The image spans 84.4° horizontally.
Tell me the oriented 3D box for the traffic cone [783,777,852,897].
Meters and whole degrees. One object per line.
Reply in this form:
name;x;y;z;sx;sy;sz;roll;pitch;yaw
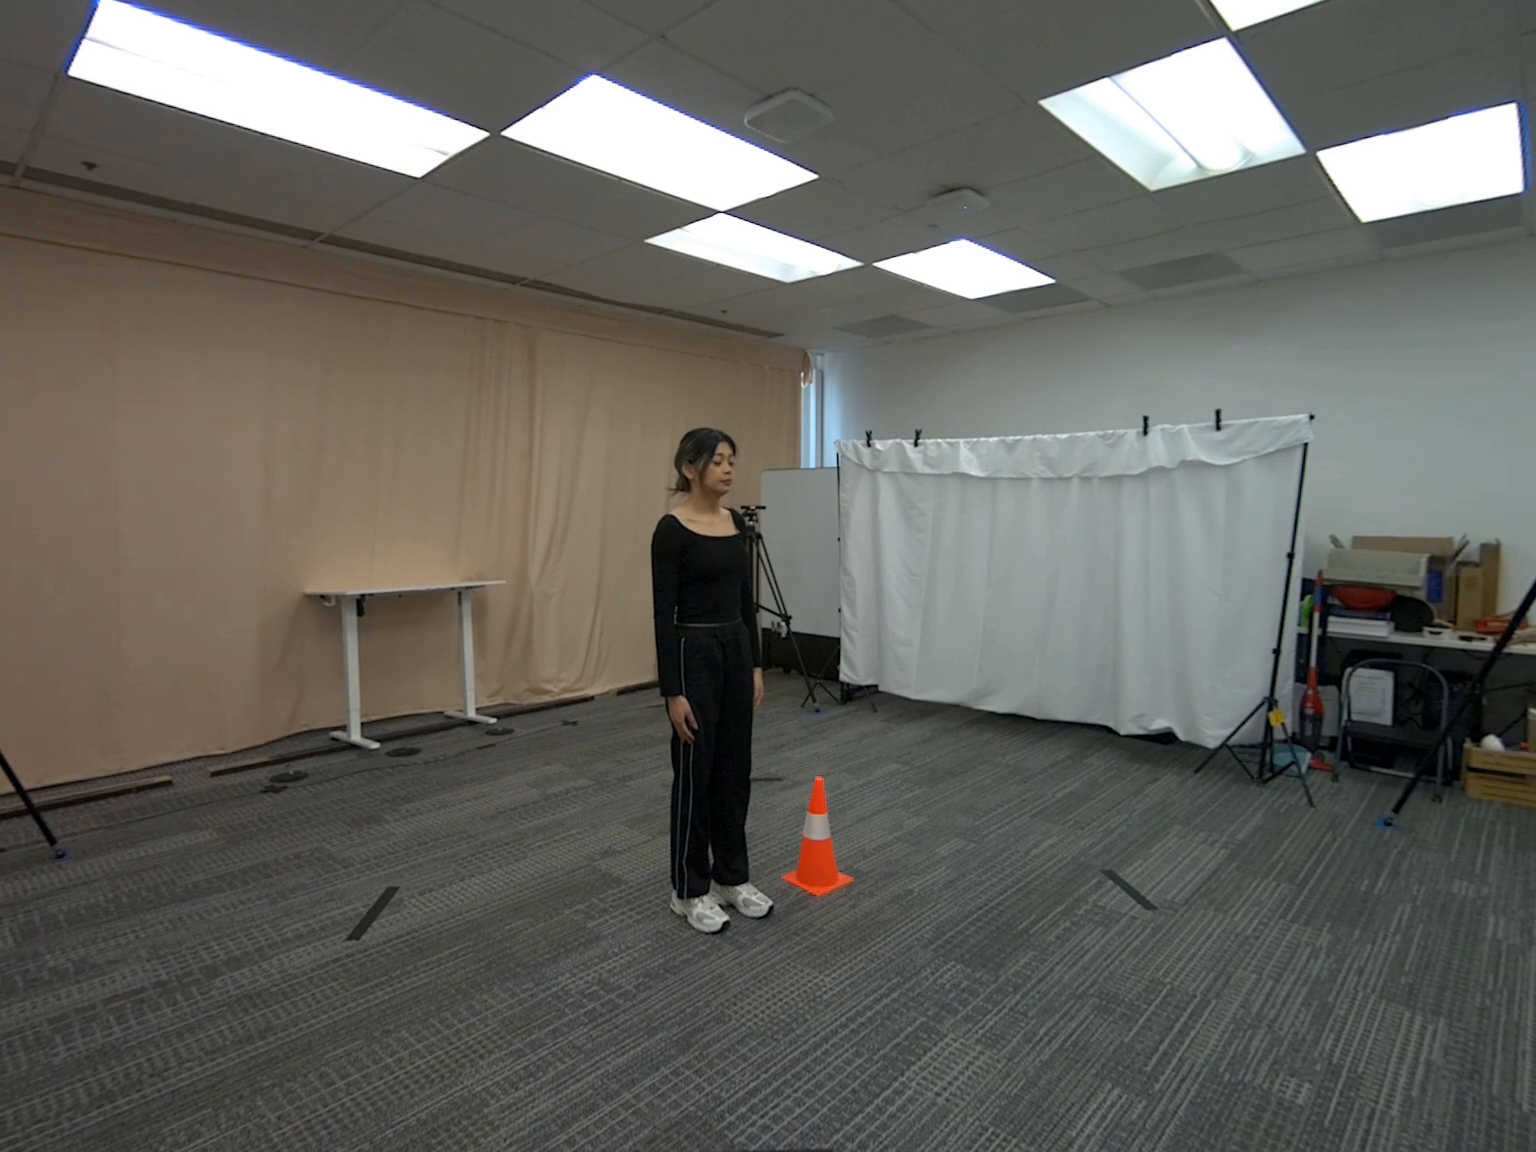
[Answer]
traffic cone;0.189;0.947;3.126;0.197;0.382;0.212;-2;6;-36
